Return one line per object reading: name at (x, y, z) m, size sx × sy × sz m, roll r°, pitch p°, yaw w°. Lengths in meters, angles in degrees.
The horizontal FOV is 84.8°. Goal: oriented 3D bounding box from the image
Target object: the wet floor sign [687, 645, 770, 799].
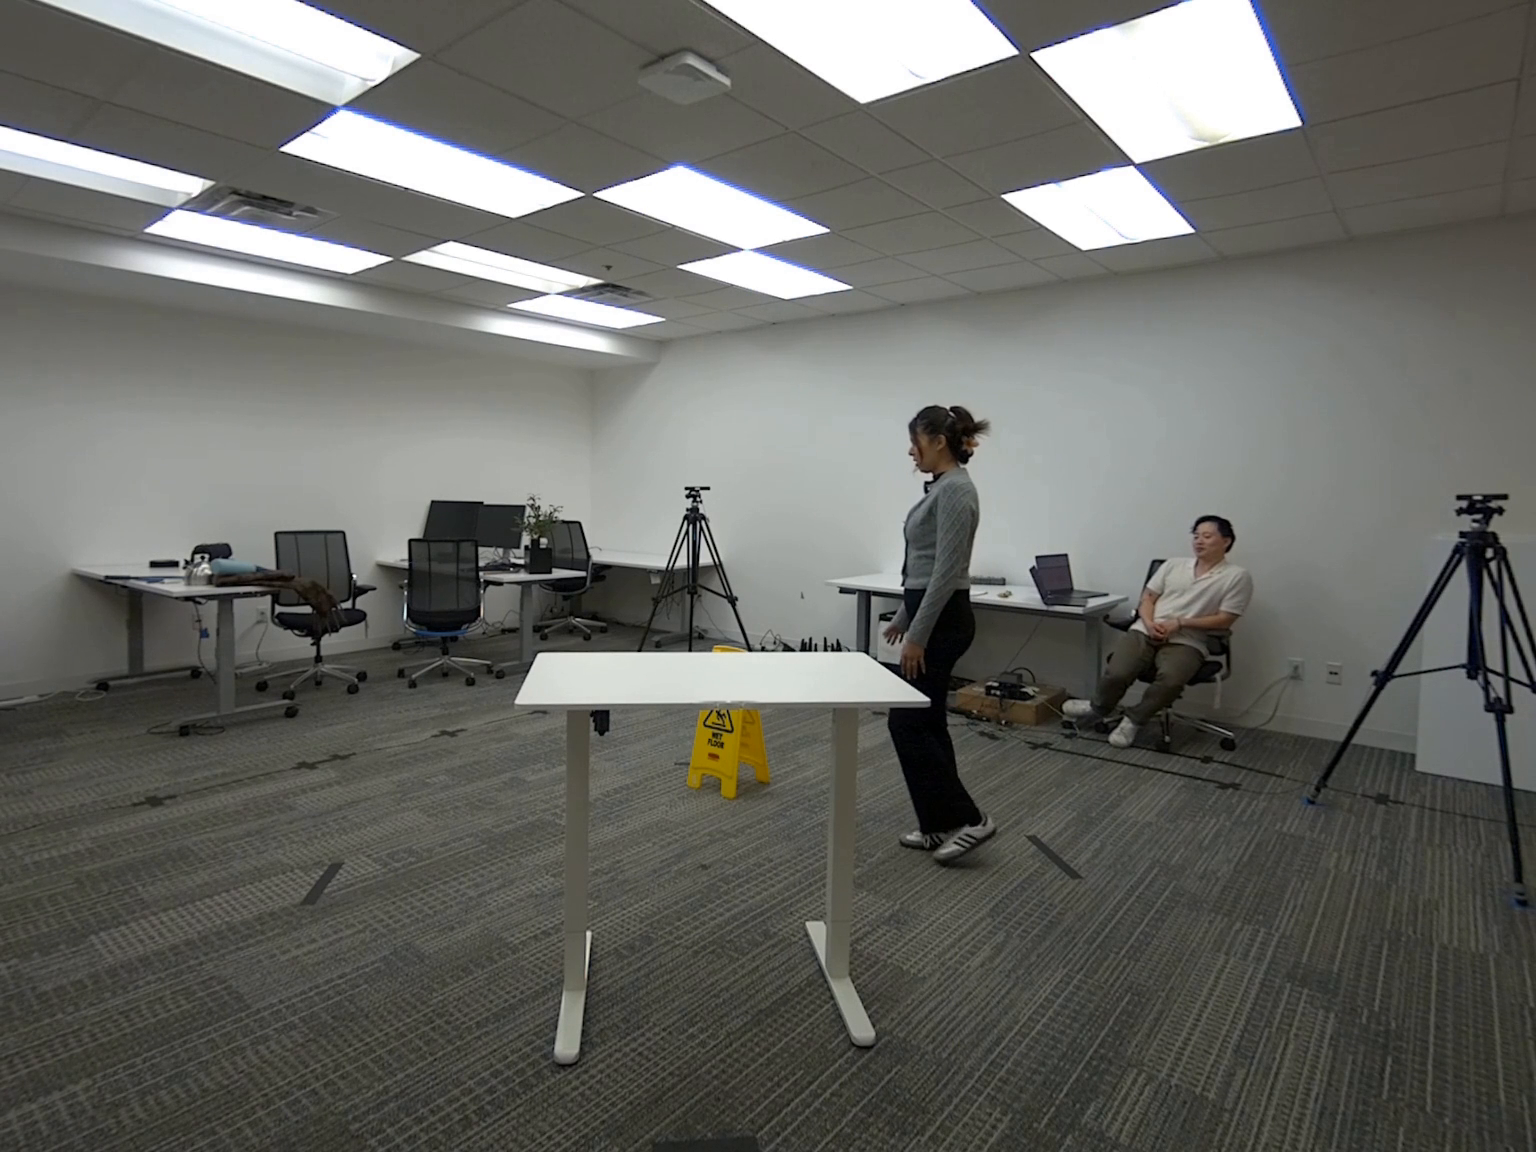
wet floor sign at (-0.191, 0.658, 3.995) m, size 0.291 × 0.644 × 0.281 m, roll 4°, pitch 4°, yaw 36°
